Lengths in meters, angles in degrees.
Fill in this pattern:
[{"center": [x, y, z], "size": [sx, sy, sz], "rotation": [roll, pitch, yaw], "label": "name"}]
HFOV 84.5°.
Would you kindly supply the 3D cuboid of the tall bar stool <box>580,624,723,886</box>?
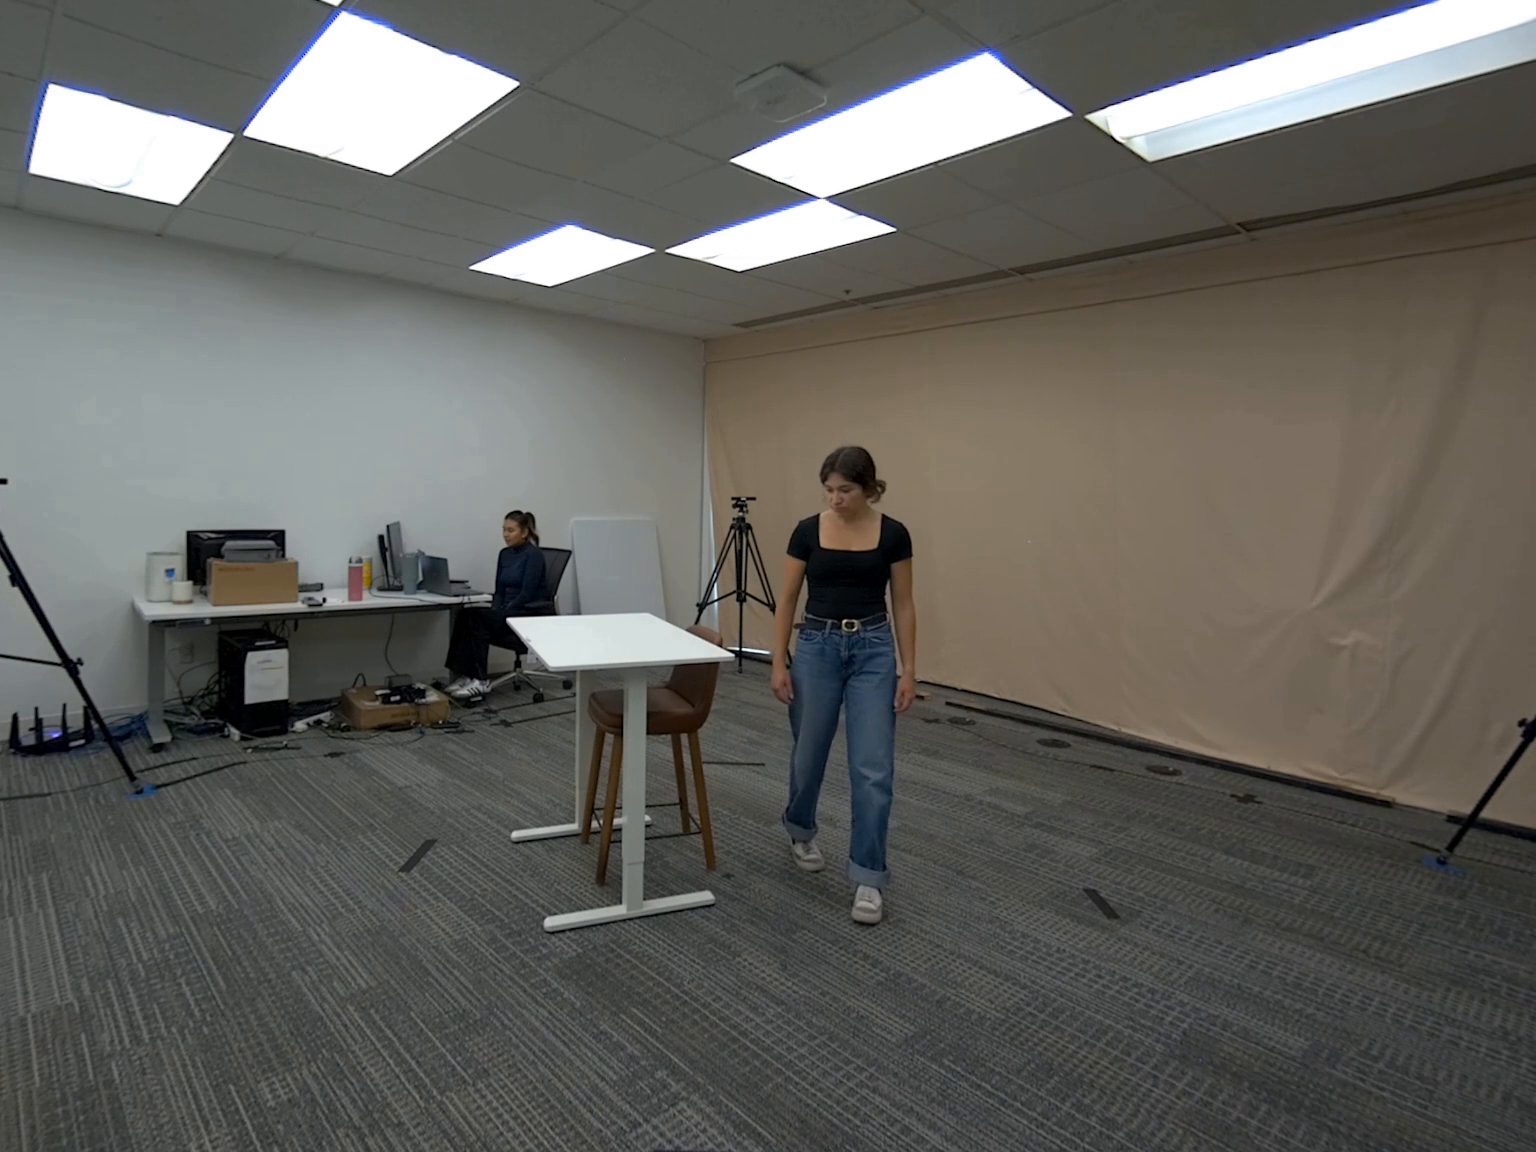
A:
[{"center": [-0.460, 0.656, 3.242], "size": [0.460, 0.888, 0.464], "rotation": [3, 3, -20], "label": "tall bar stool"}]
